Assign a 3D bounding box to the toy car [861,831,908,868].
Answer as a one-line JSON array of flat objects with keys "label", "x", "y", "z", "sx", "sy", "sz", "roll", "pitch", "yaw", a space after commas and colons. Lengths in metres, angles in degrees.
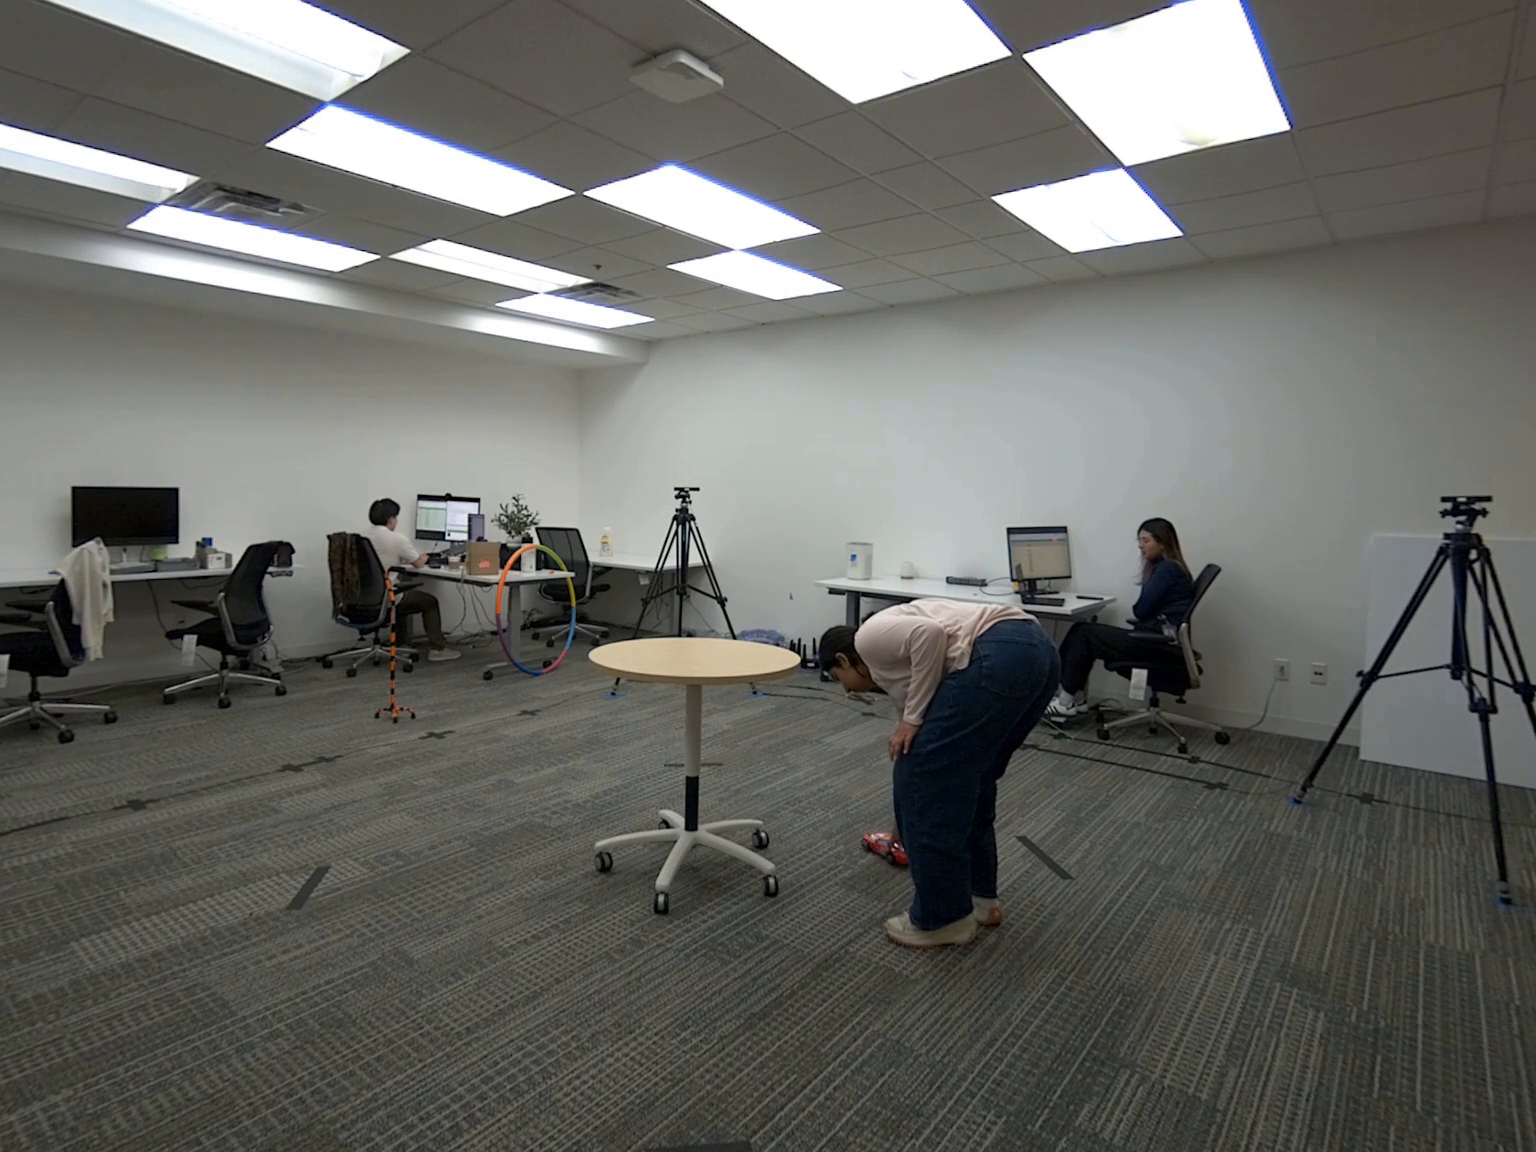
[{"label": "toy car", "x": 0.473, "y": 1.038, "z": 3.238, "sx": 0.127, "sy": 0.083, "sz": 0.261, "roll": -2, "pitch": -2, "yaw": -33}]
